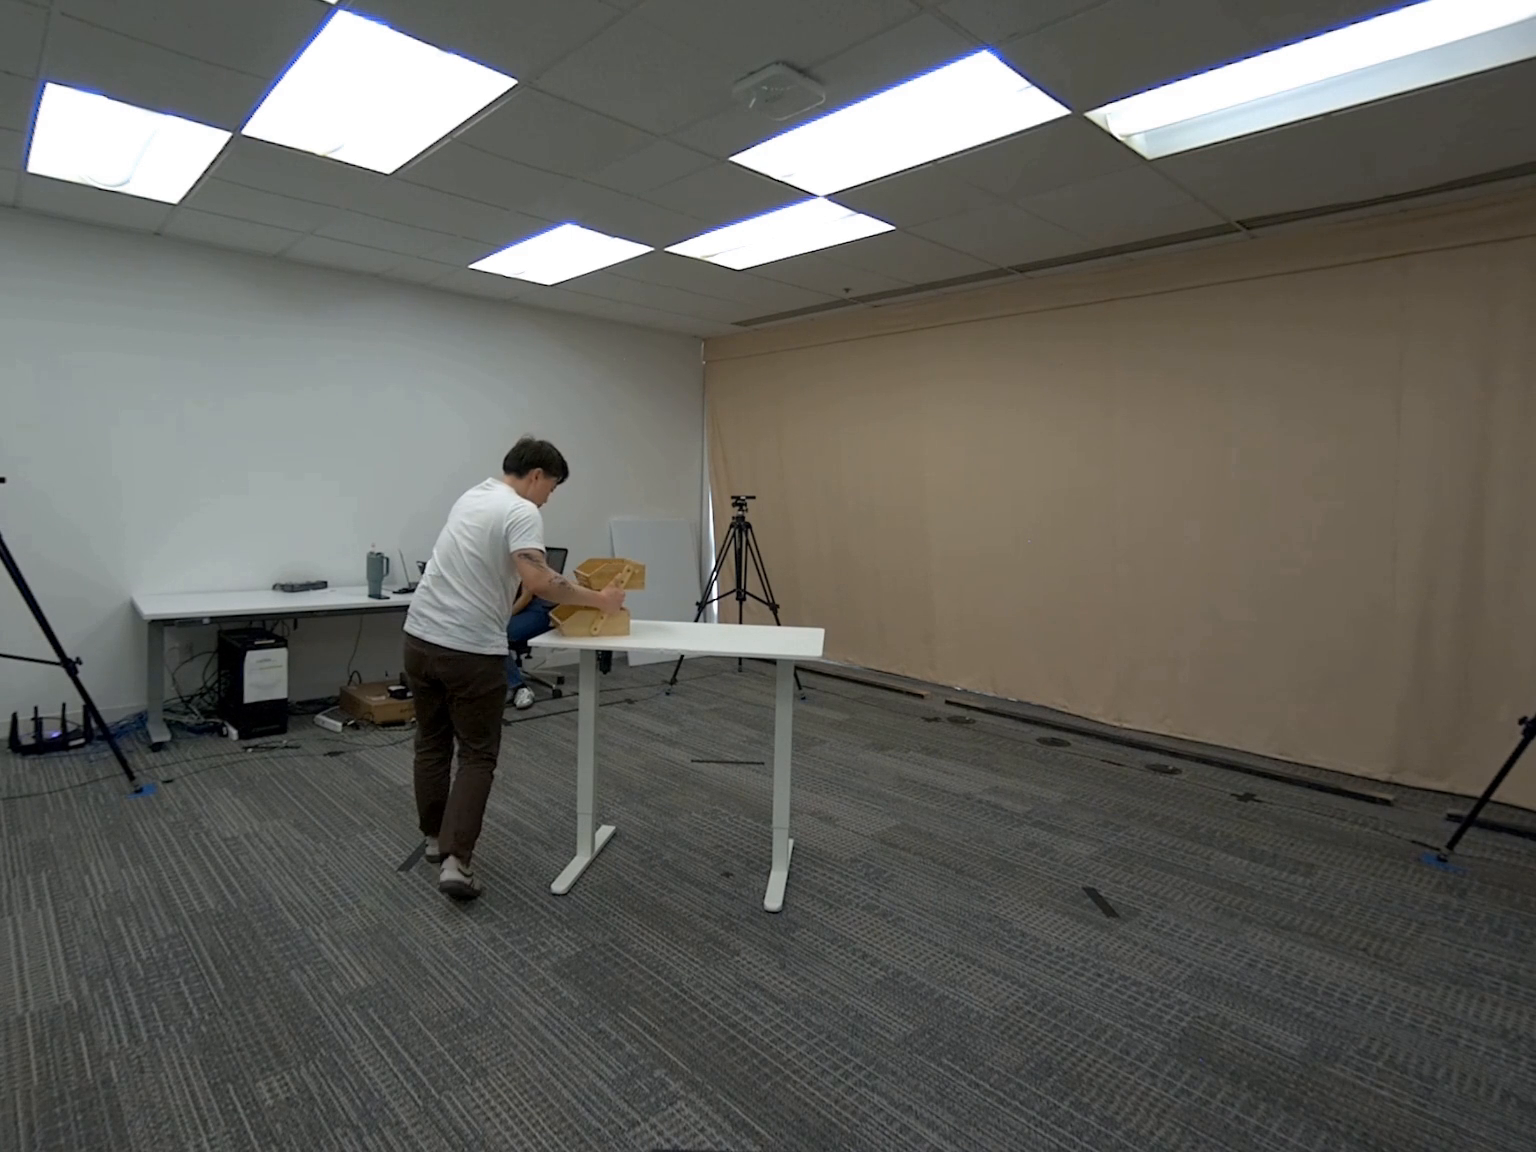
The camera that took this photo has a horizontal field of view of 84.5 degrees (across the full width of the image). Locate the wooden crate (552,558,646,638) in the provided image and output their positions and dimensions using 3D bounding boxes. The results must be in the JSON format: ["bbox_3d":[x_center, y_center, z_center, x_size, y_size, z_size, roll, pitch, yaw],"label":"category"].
[{"bbox_3d":[-0.672,0.070,3.156,0.297,0.273,0.330,1,4,-20],"label":"wooden crate"}]
